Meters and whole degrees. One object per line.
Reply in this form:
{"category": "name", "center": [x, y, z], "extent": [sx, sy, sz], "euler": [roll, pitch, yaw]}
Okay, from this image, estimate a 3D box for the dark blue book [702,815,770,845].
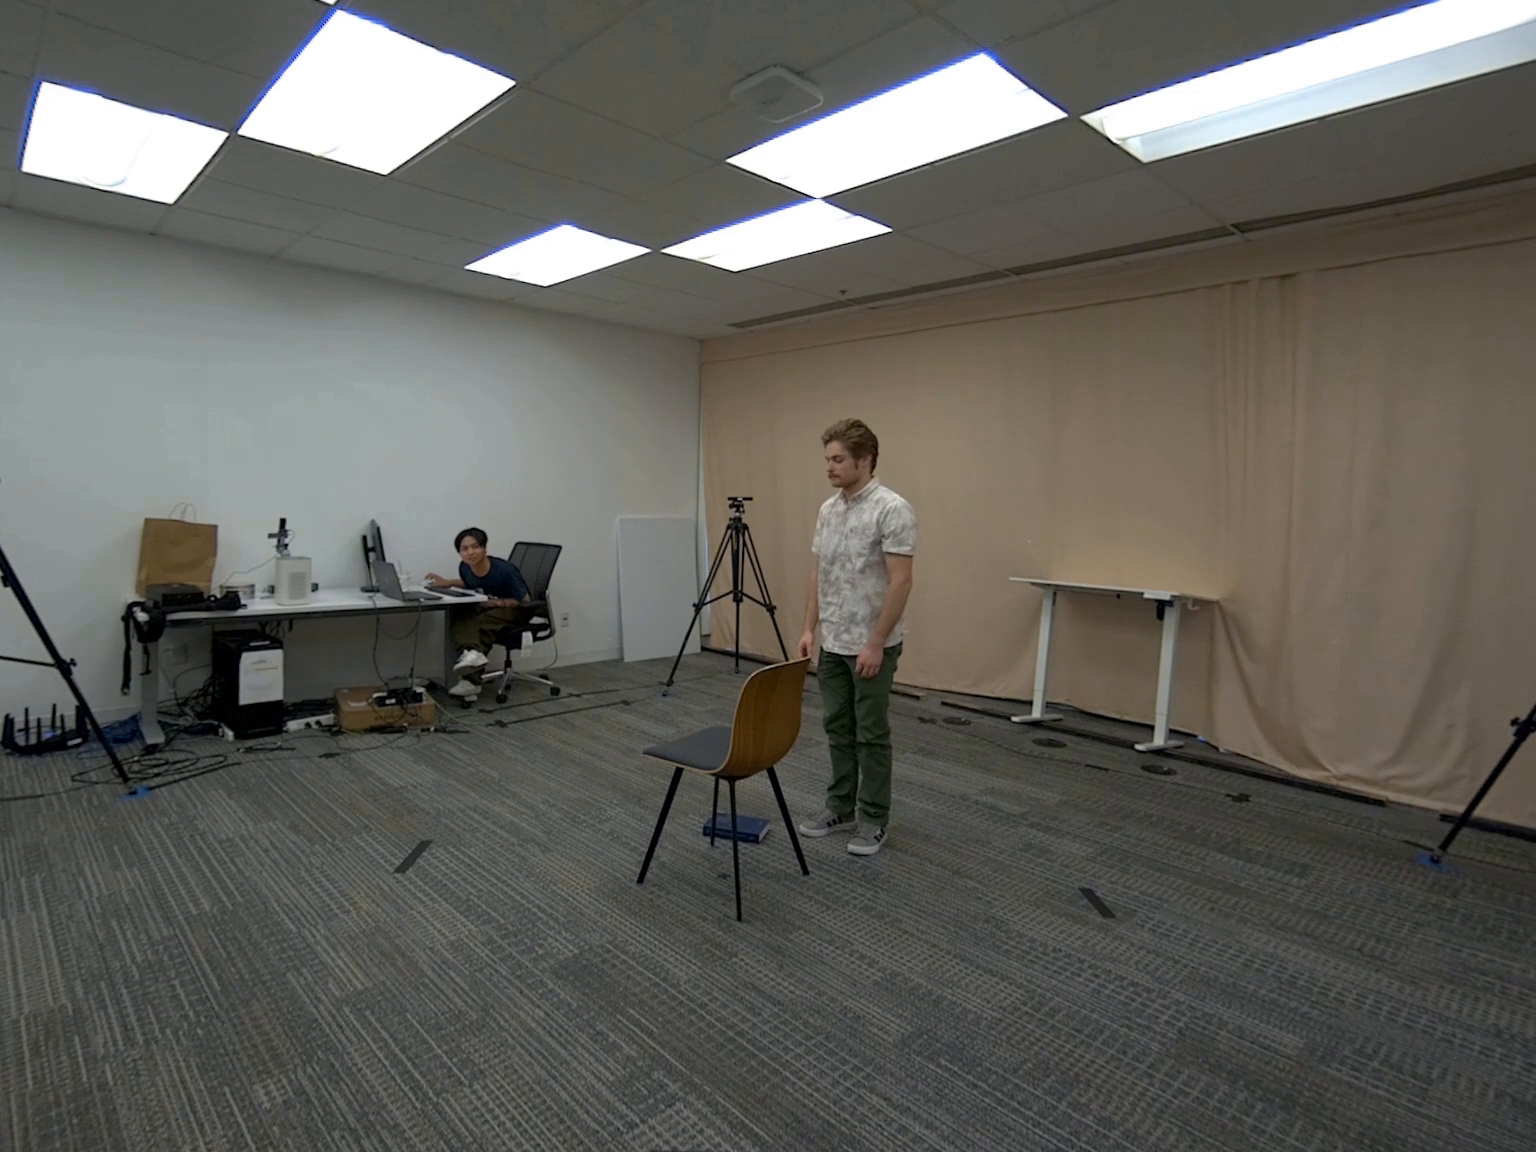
{"category": "dark blue book", "center": [-0.134, 1.045, 3.513], "extent": [0.249, 0.045, 0.161], "euler": [3, 4, 18]}
